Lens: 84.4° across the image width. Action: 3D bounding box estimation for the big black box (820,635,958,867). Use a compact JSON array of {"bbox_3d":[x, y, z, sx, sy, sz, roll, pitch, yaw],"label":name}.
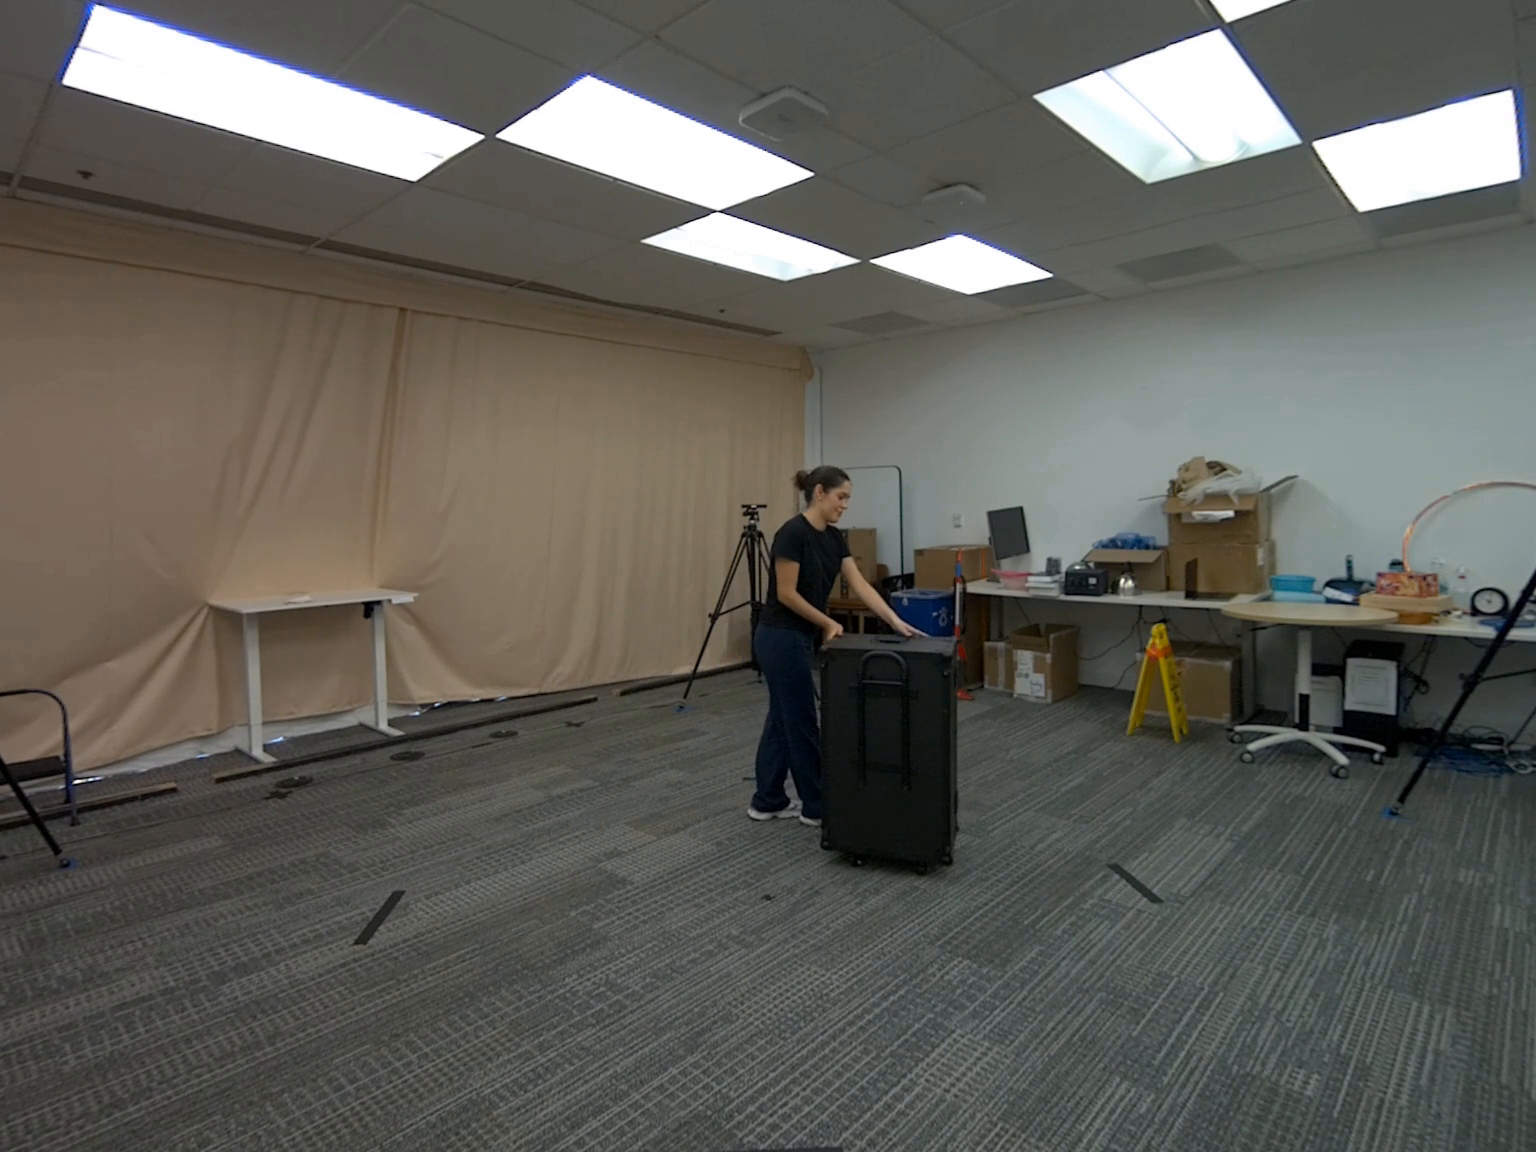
[{"bbox_3d":[0.501,0.684,3.269,0.531,0.859,0.390,0,5,18],"label":"big black box"}]
